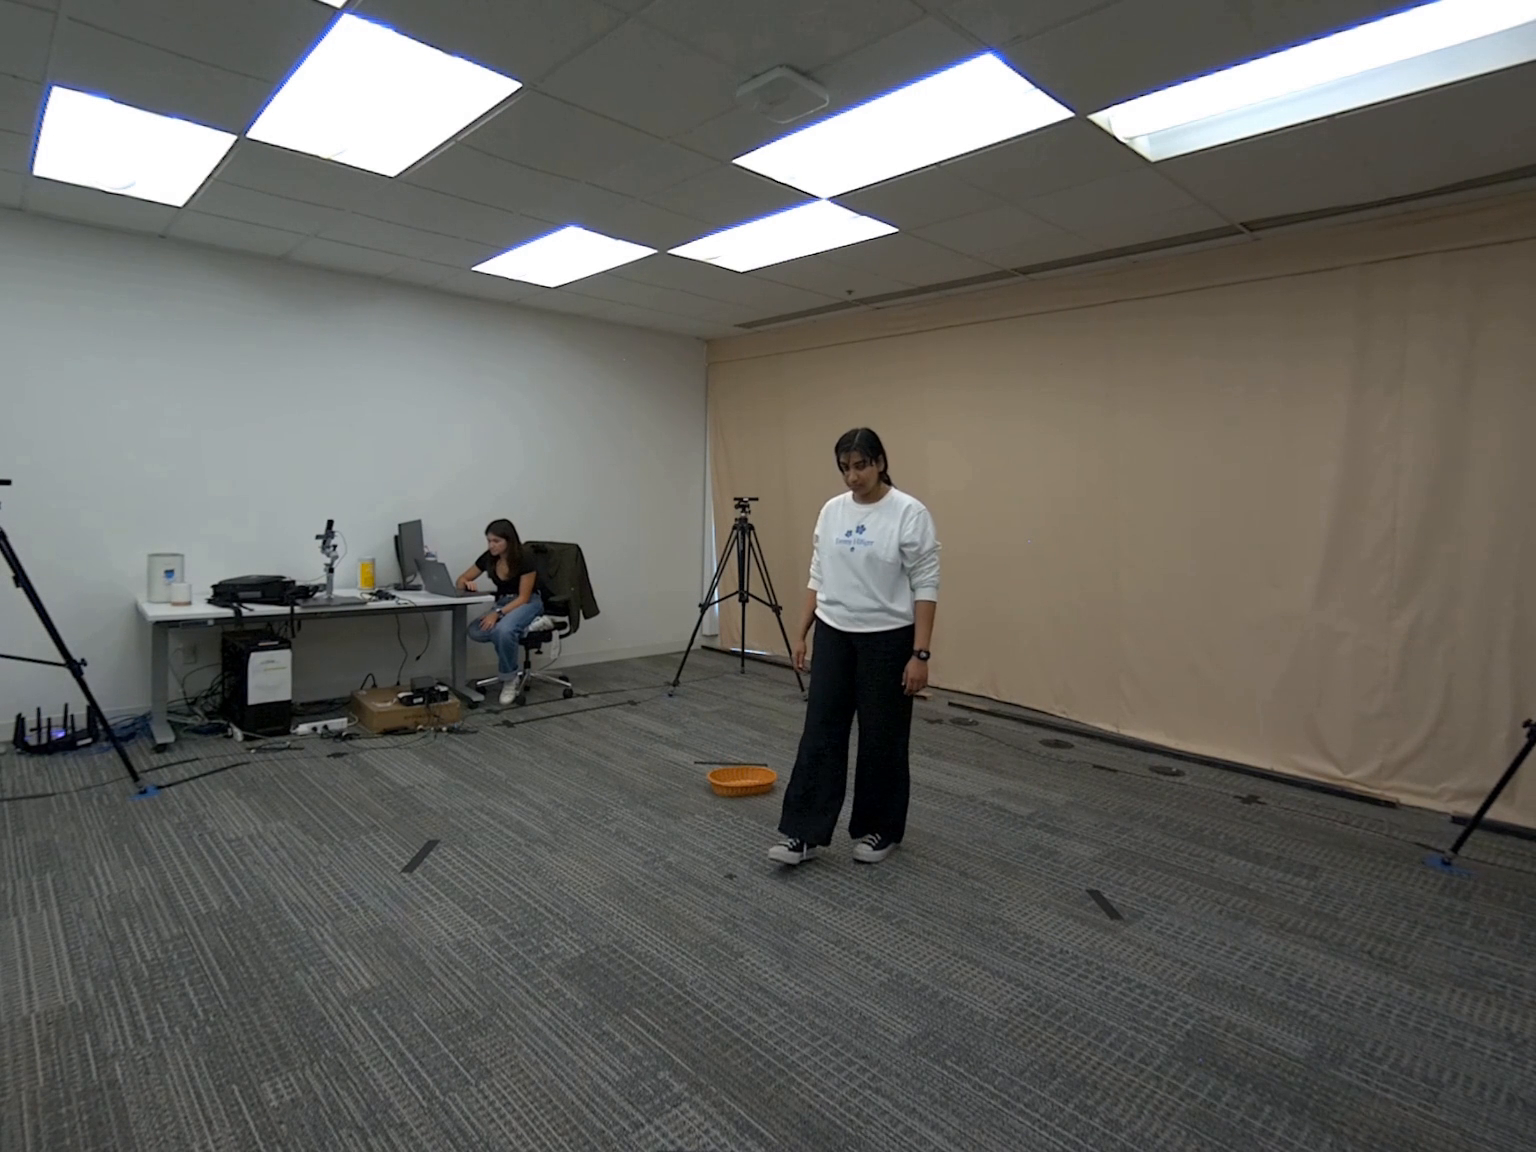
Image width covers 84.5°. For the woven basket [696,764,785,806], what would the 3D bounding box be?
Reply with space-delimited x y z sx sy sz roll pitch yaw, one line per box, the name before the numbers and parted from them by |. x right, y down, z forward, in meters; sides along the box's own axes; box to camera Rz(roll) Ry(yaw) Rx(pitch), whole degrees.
woven basket | -0.137 0.994 4.052 0.344 0.073 0.257 0 7 -23
